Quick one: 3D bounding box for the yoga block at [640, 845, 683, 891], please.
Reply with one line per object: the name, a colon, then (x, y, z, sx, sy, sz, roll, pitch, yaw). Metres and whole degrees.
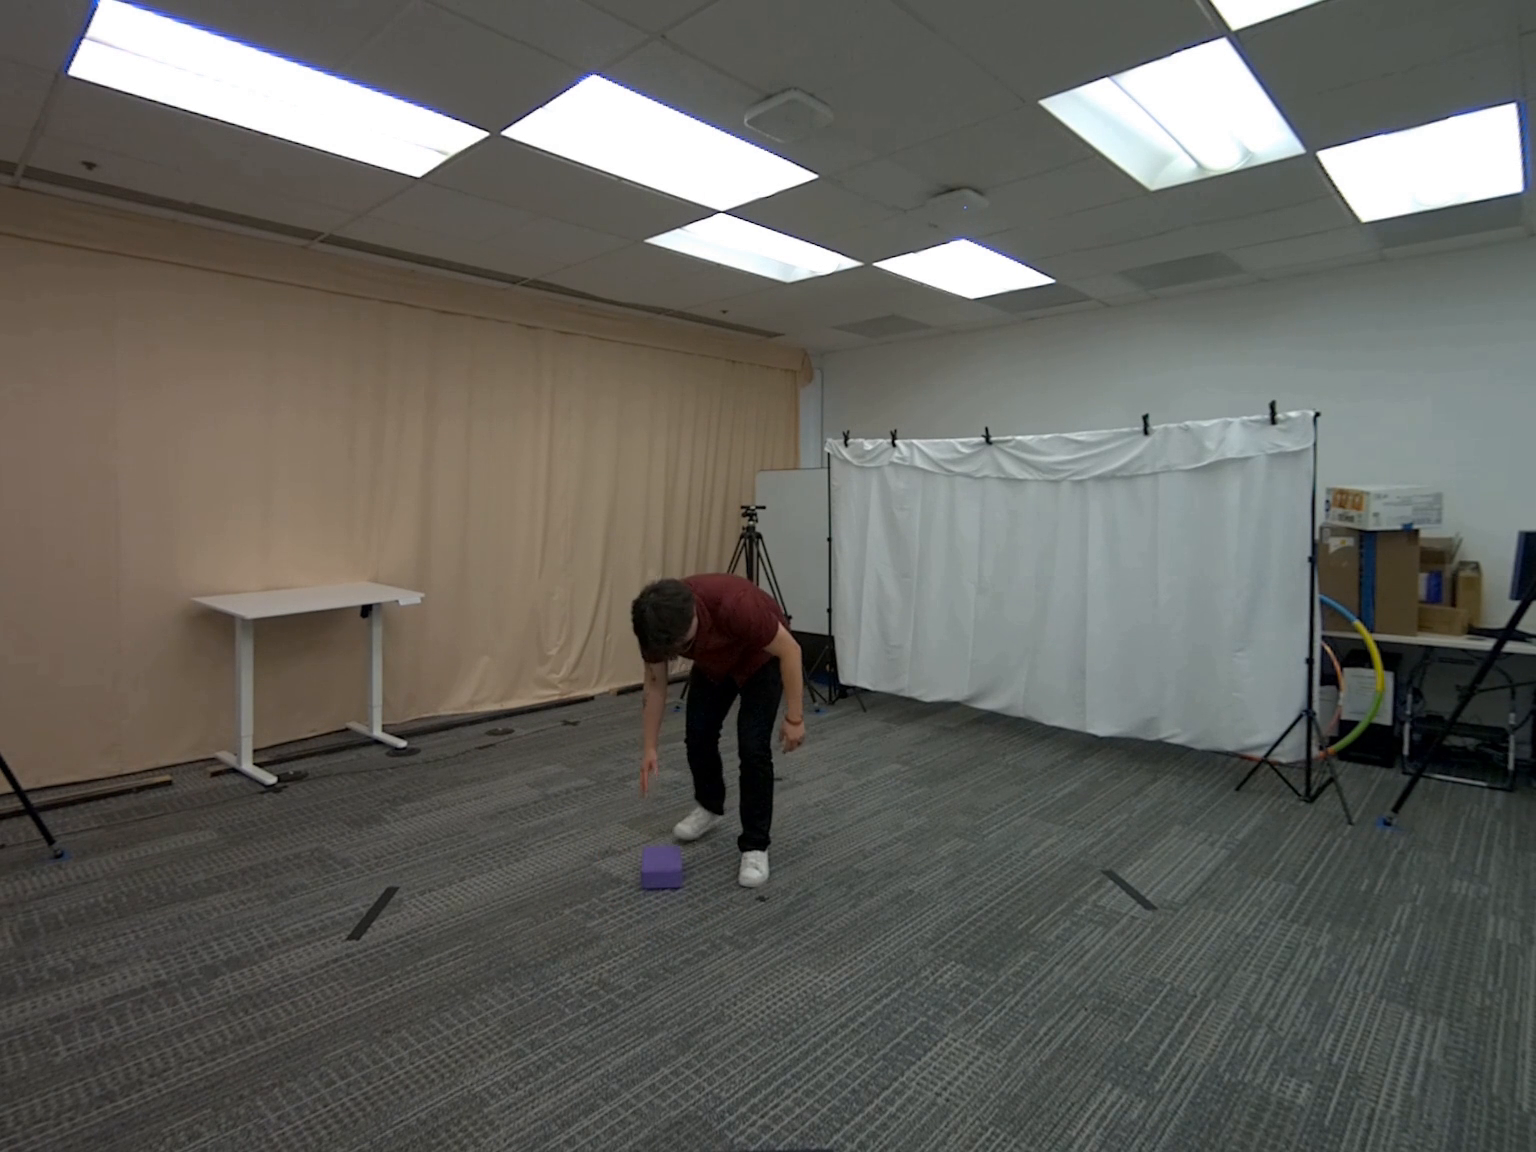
yoga block: (-0.396, 1.090, 3.168, 0.148, 0.076, 0.231, 0, 4, -5)
